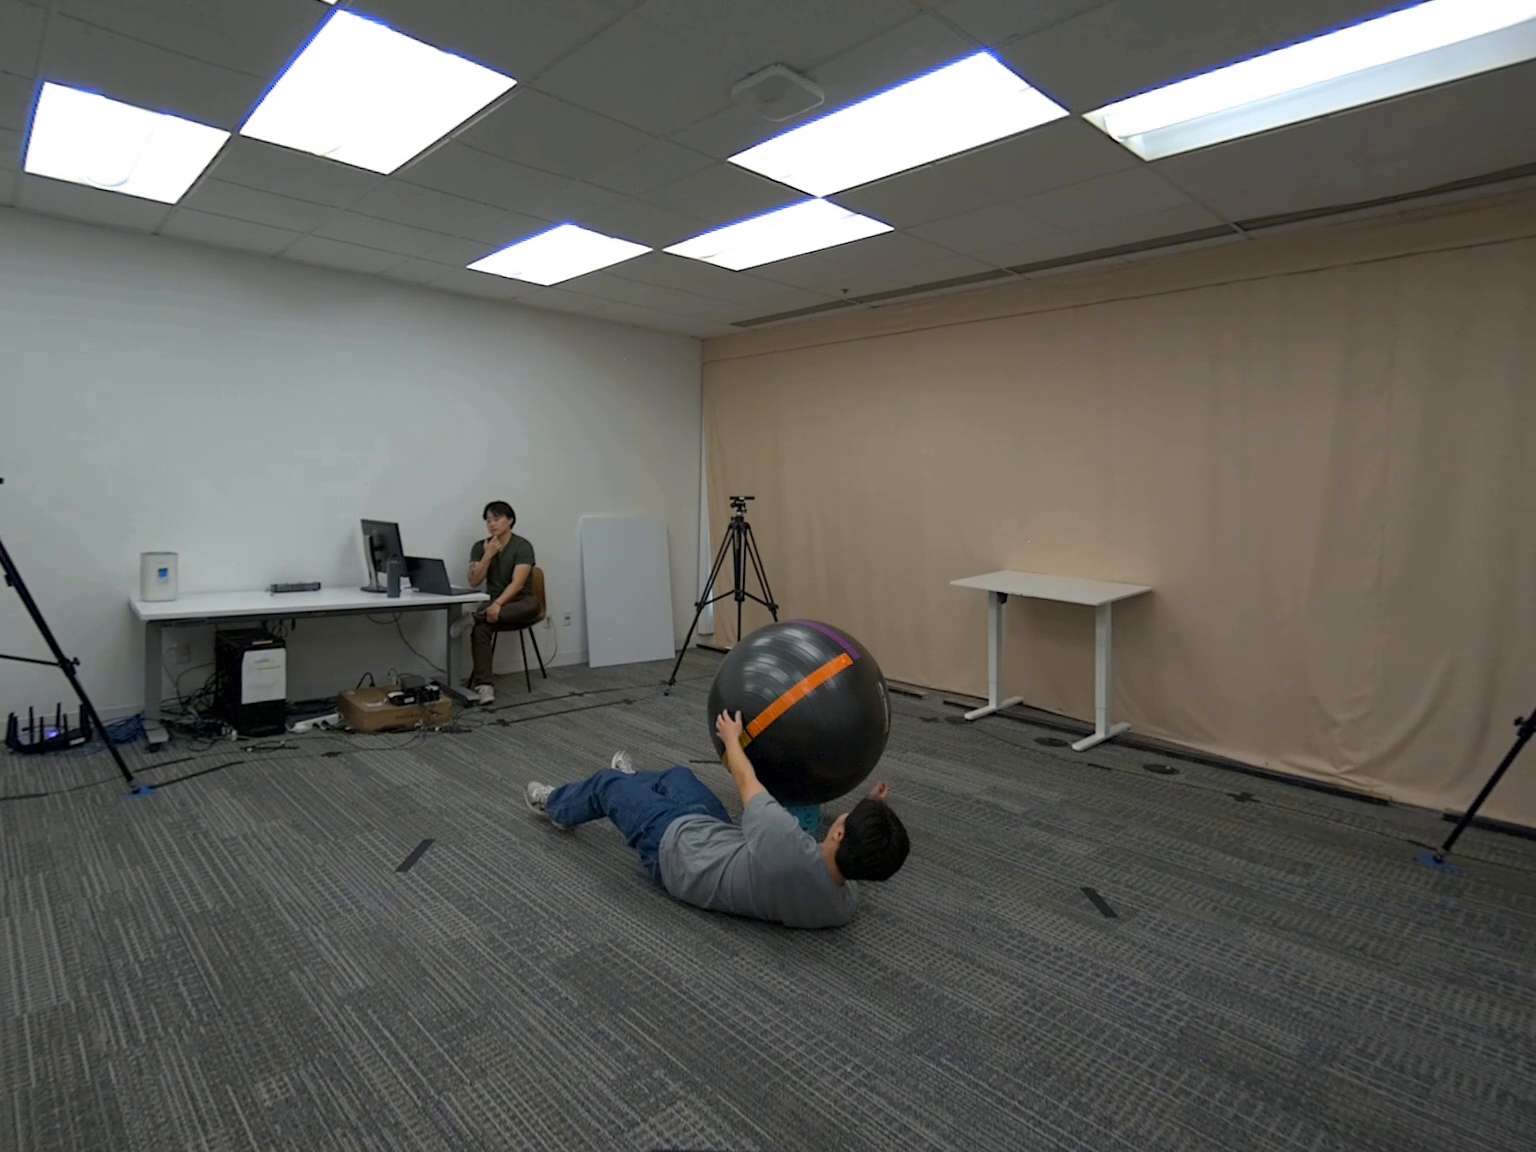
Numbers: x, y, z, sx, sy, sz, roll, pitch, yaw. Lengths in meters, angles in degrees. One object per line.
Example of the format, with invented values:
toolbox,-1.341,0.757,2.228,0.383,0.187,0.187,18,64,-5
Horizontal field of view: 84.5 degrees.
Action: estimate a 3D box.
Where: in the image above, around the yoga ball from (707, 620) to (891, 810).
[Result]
yoga ball,0.123,0.562,3.506,0.757,0.756,0.761,1,4,-1
